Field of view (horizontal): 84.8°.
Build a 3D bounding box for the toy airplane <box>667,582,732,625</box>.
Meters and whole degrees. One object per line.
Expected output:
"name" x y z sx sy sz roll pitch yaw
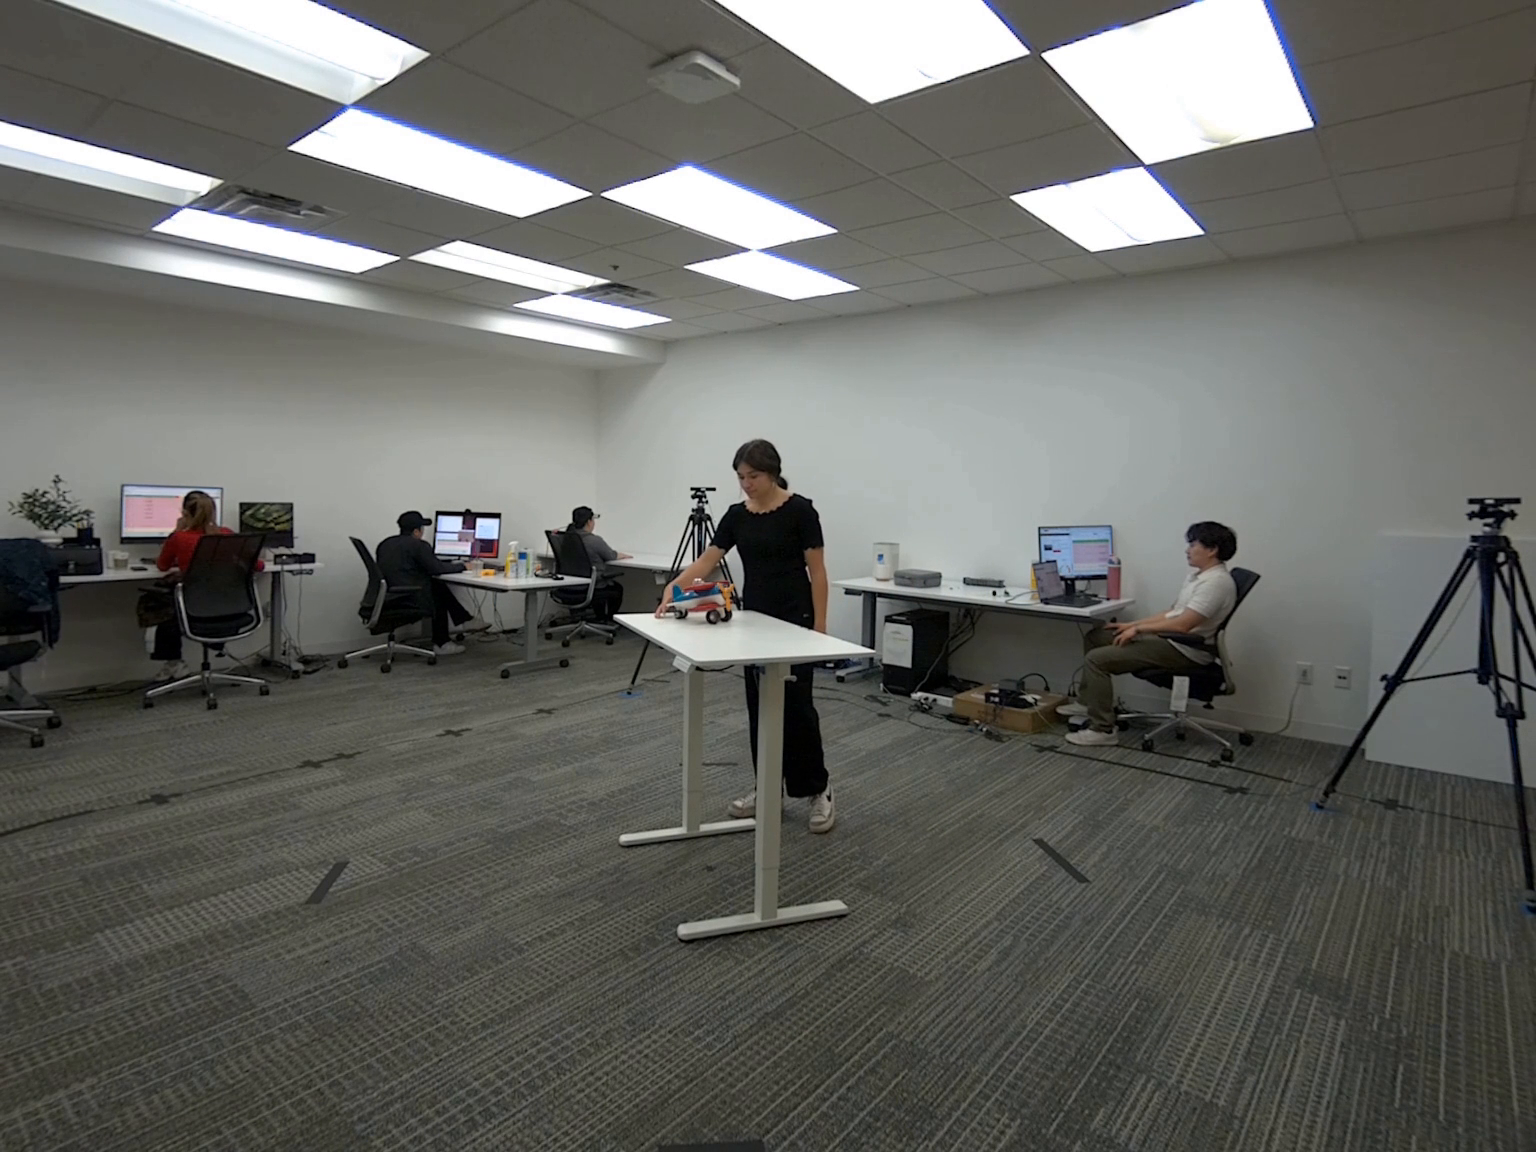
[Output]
"toy airplane" -0.273 0.095 3.246 0.260 0.156 0.251 2 4 1
